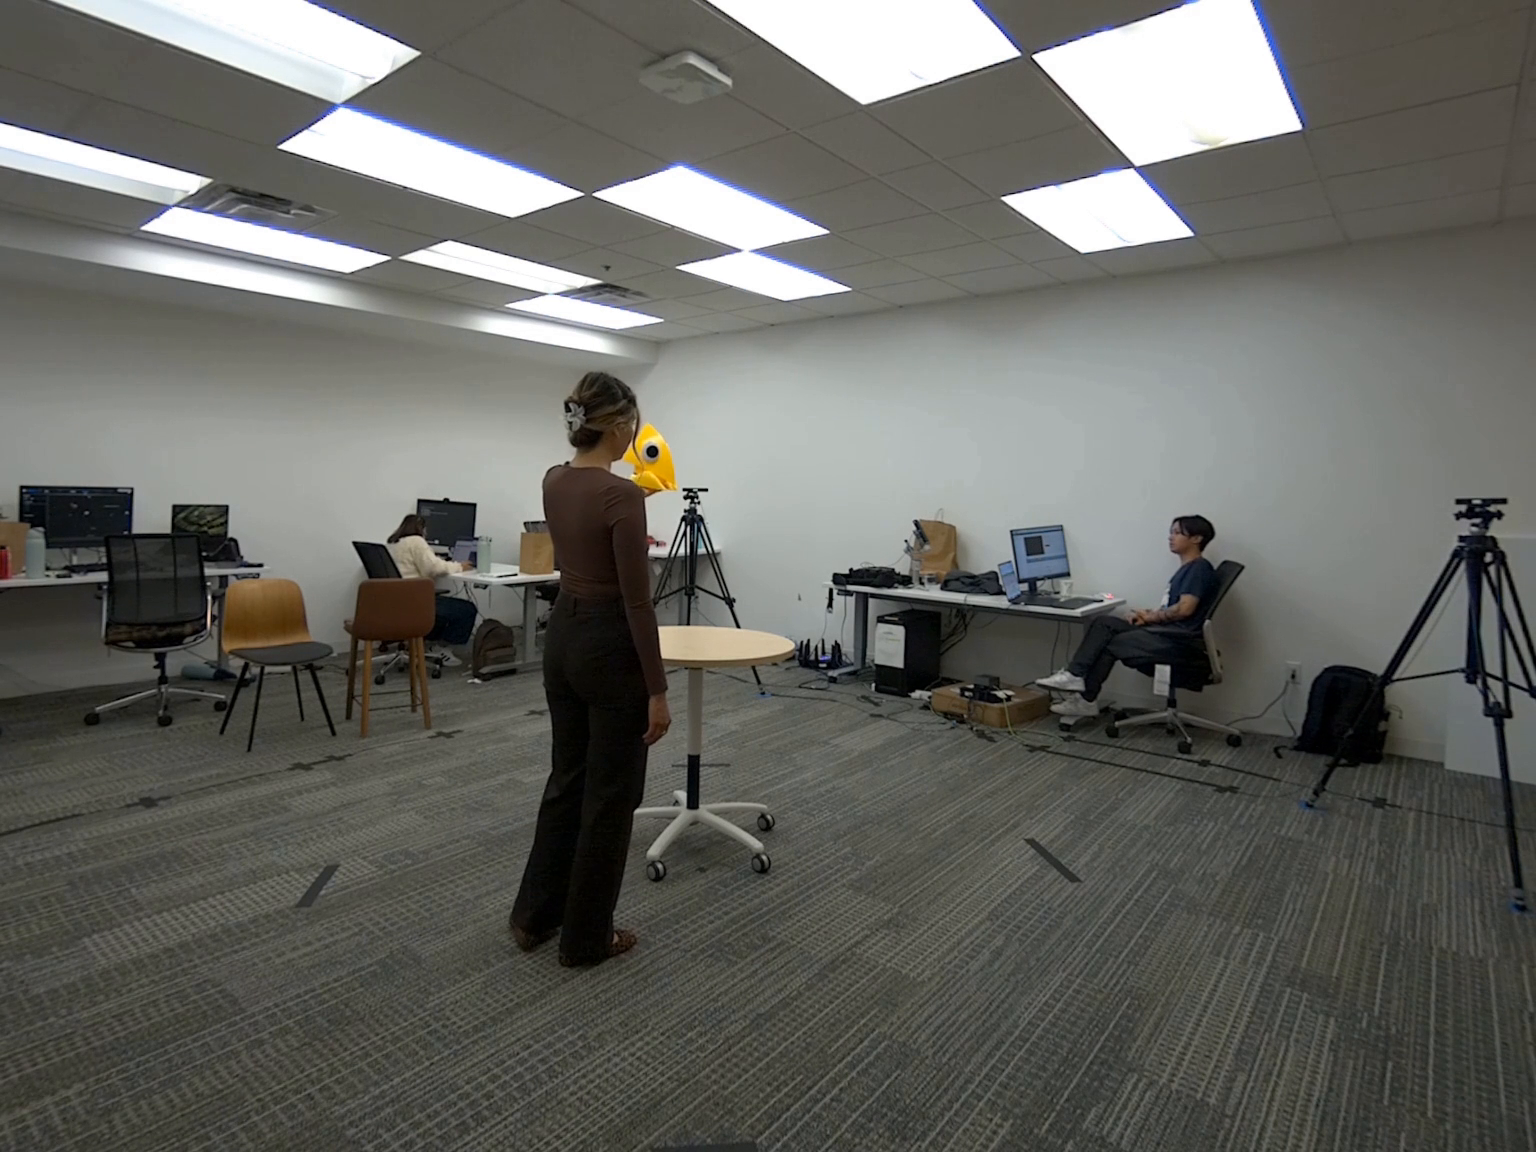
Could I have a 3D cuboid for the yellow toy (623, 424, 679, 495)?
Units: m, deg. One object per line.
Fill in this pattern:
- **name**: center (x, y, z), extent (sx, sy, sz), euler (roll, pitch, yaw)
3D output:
- **yellow toy**: center (-0.432, -0.451, 3.162), extent (0.197, 0.230, 0.201), euler (13, 7, 18)
